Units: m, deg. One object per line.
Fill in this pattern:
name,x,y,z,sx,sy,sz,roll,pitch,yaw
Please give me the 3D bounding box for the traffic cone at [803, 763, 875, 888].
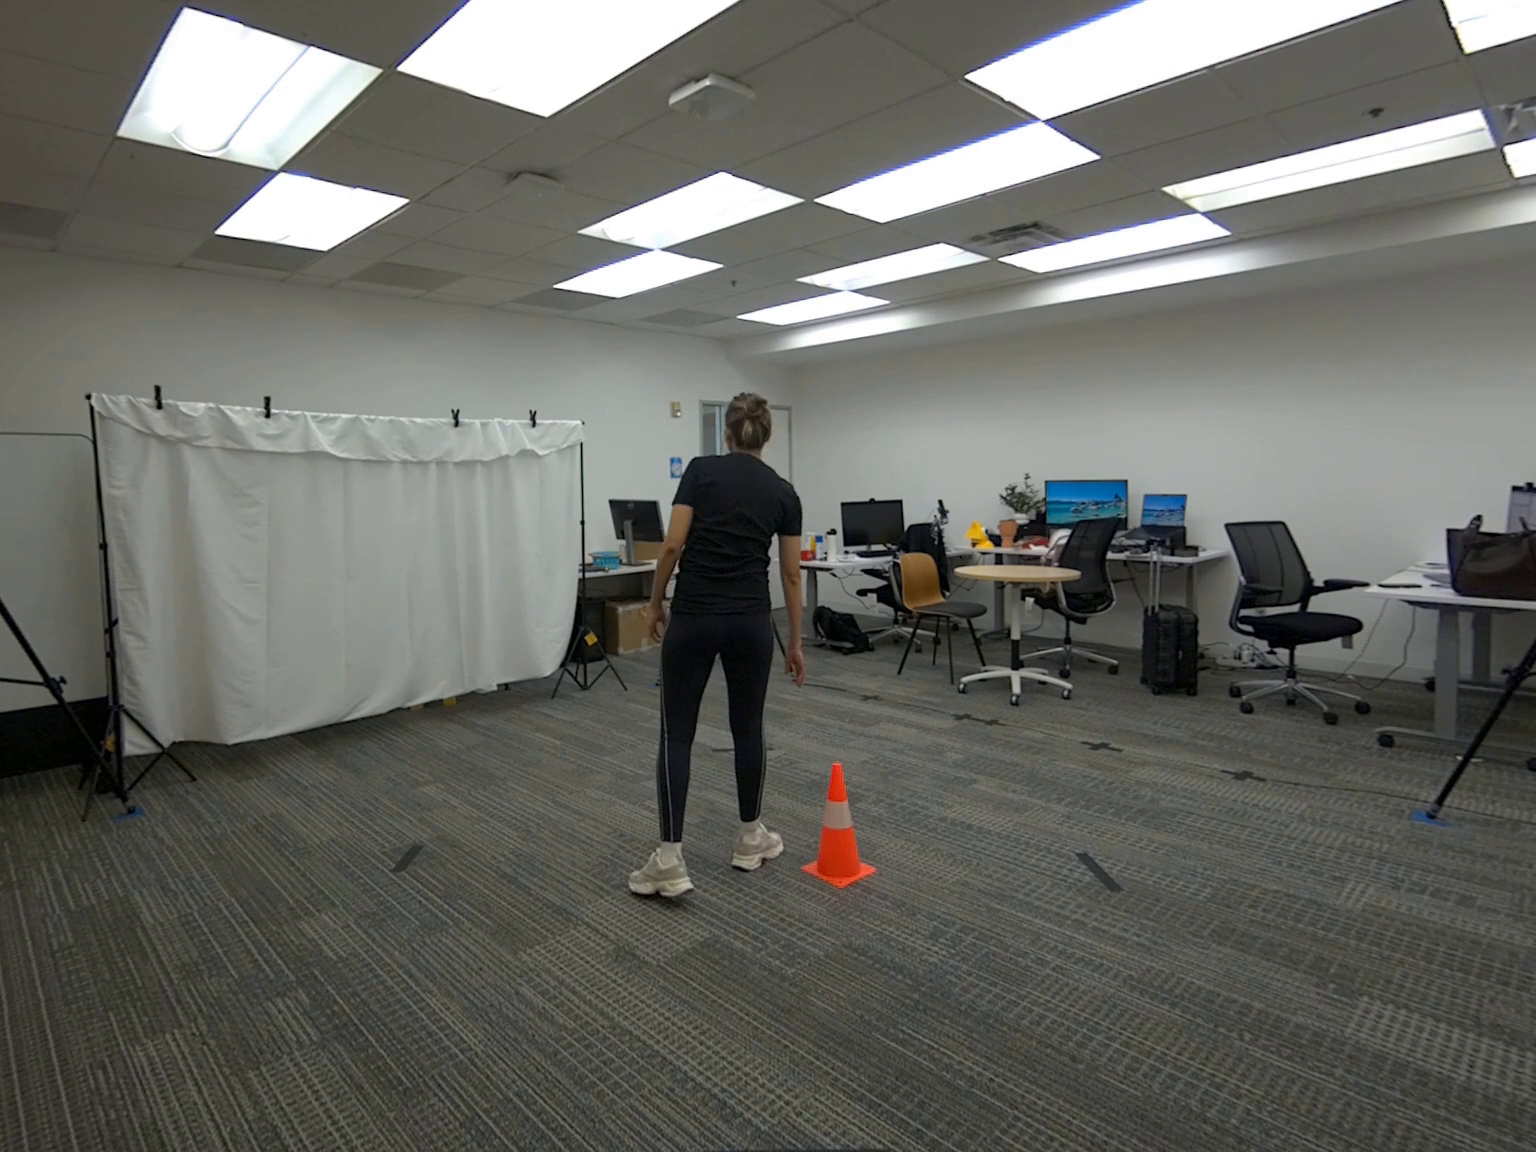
traffic cone,0.262,0.867,3.040,0.200,0.382,0.209,-3,5,-35
